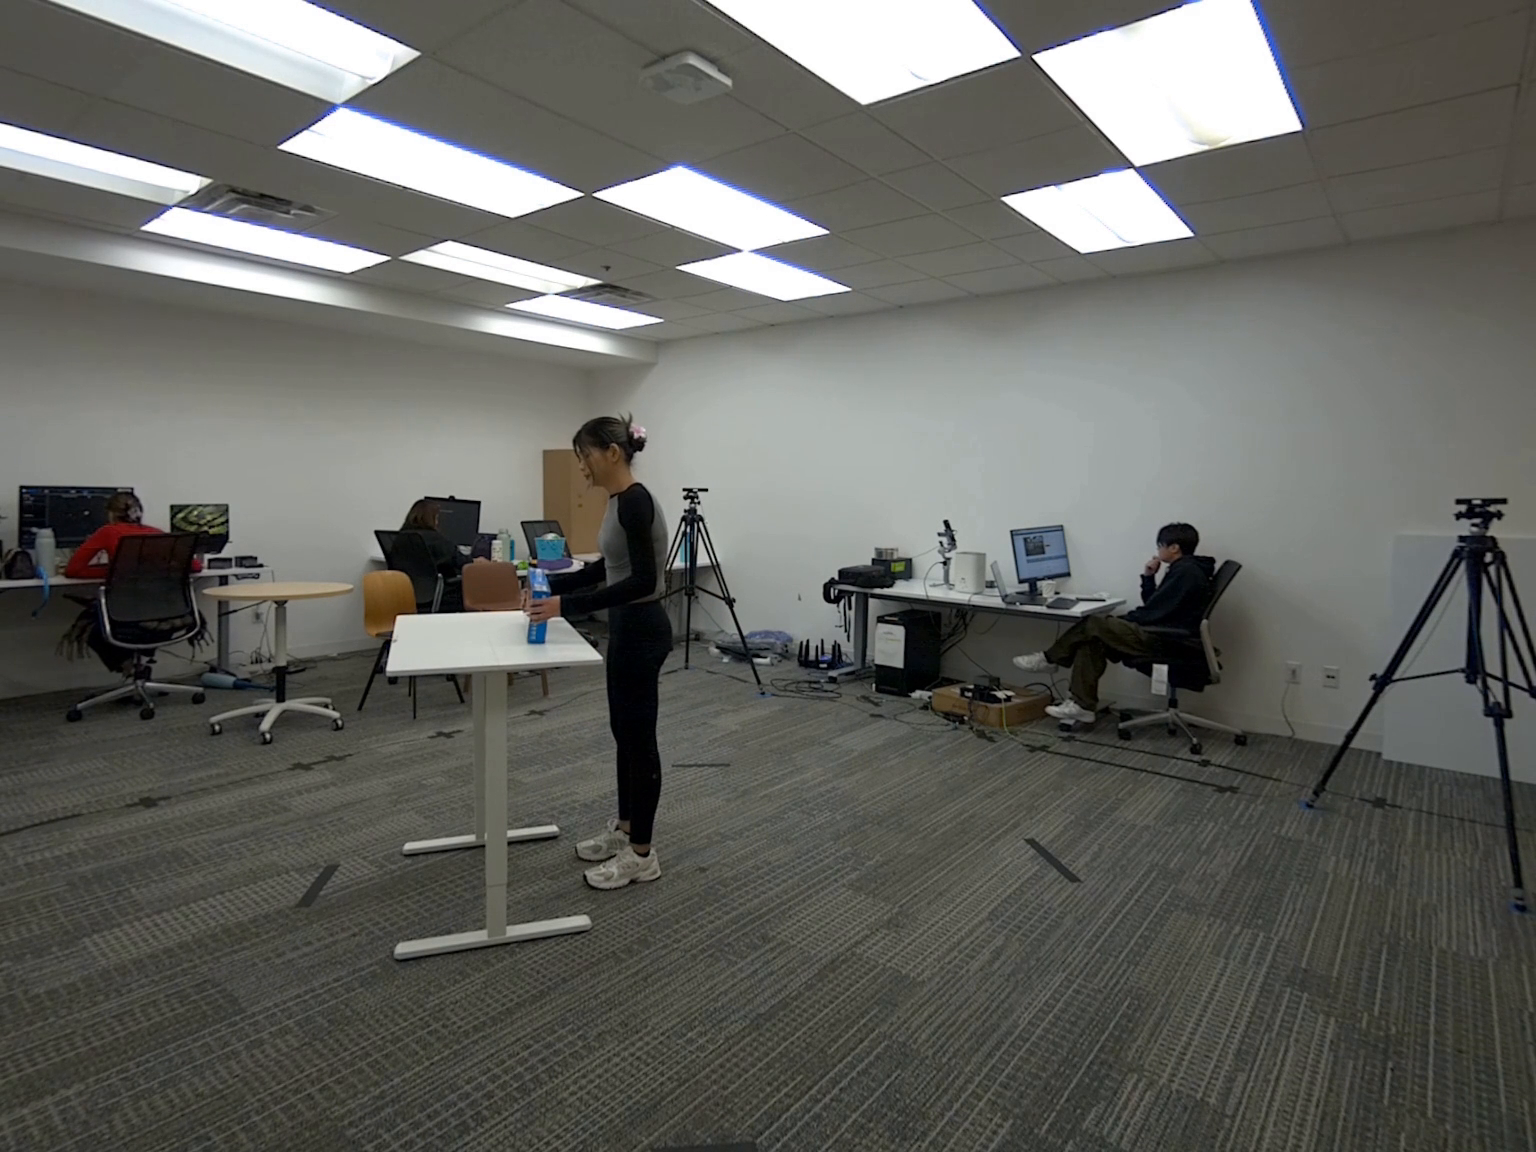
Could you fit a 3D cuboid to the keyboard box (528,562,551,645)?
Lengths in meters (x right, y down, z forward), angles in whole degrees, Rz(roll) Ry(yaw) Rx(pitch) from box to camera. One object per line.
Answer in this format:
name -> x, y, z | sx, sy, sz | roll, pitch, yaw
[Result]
keyboard box -> -0.814, 0.089, 2.941 | 0.058, 0.175, 0.448 | 5, 9, -18
